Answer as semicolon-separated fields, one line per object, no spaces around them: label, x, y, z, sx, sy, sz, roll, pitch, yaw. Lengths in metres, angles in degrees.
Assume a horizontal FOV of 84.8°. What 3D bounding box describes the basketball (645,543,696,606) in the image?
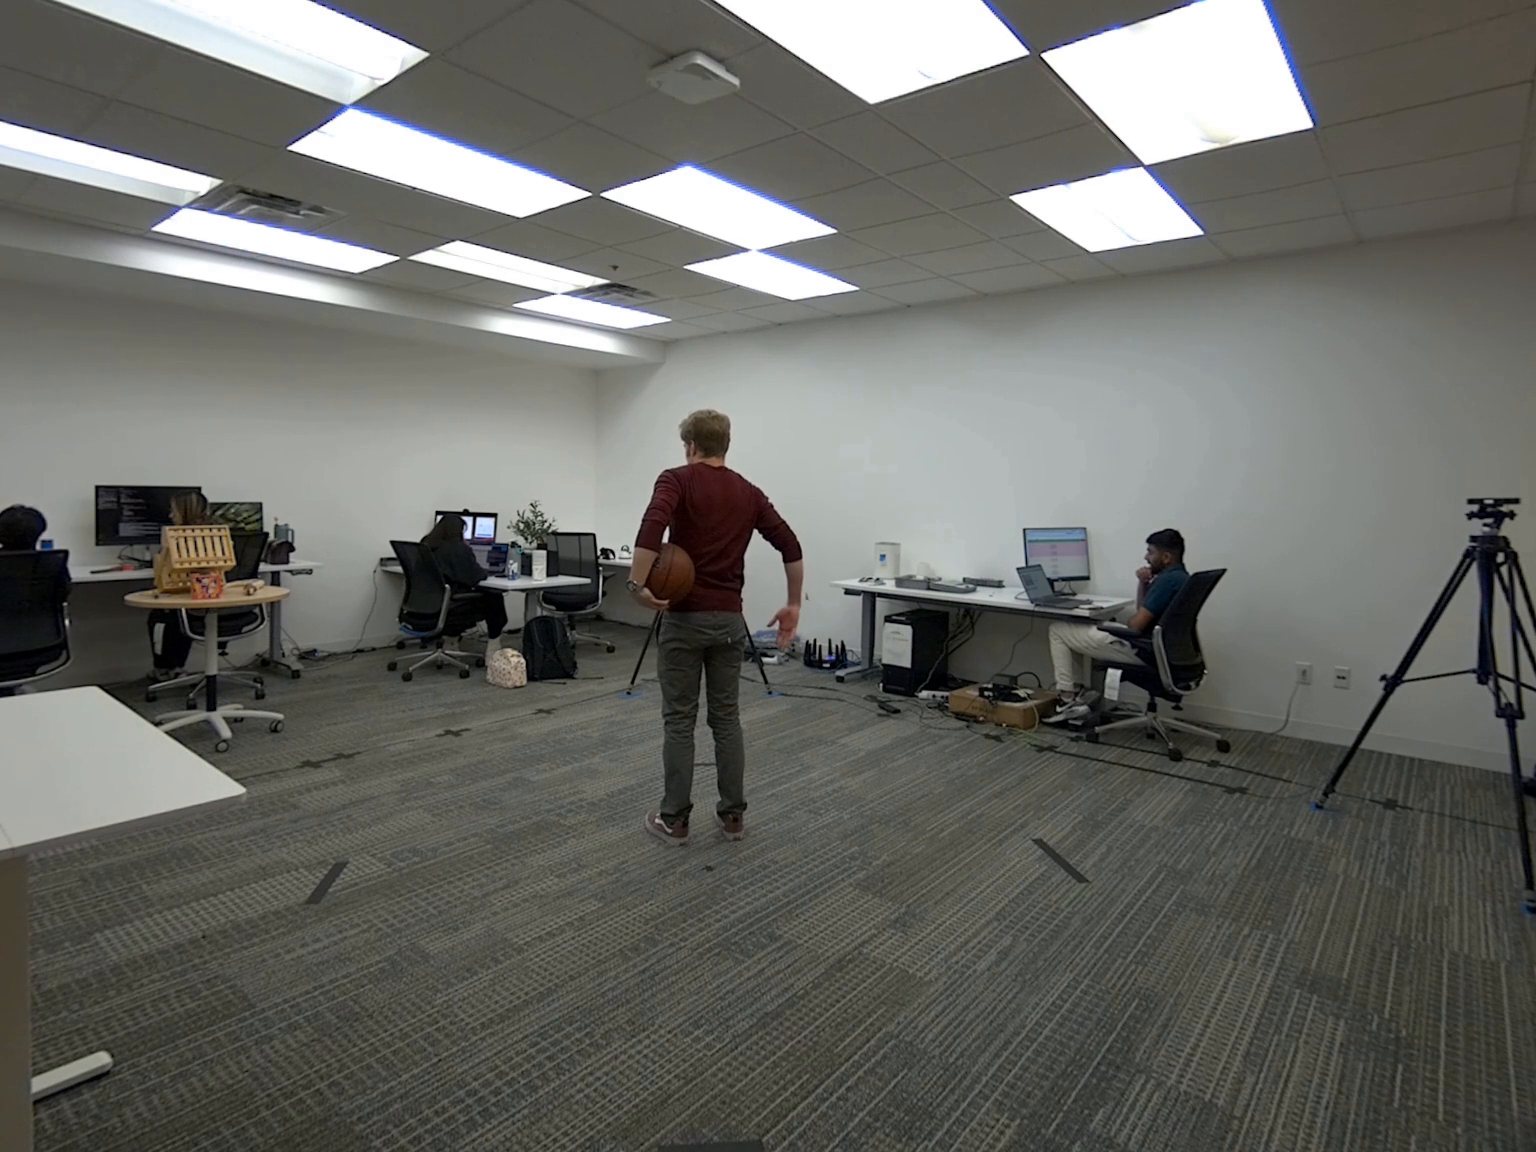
basketball;-0.397;-0.009;3.203;0.235;0.235;0.237;1;4;-2
